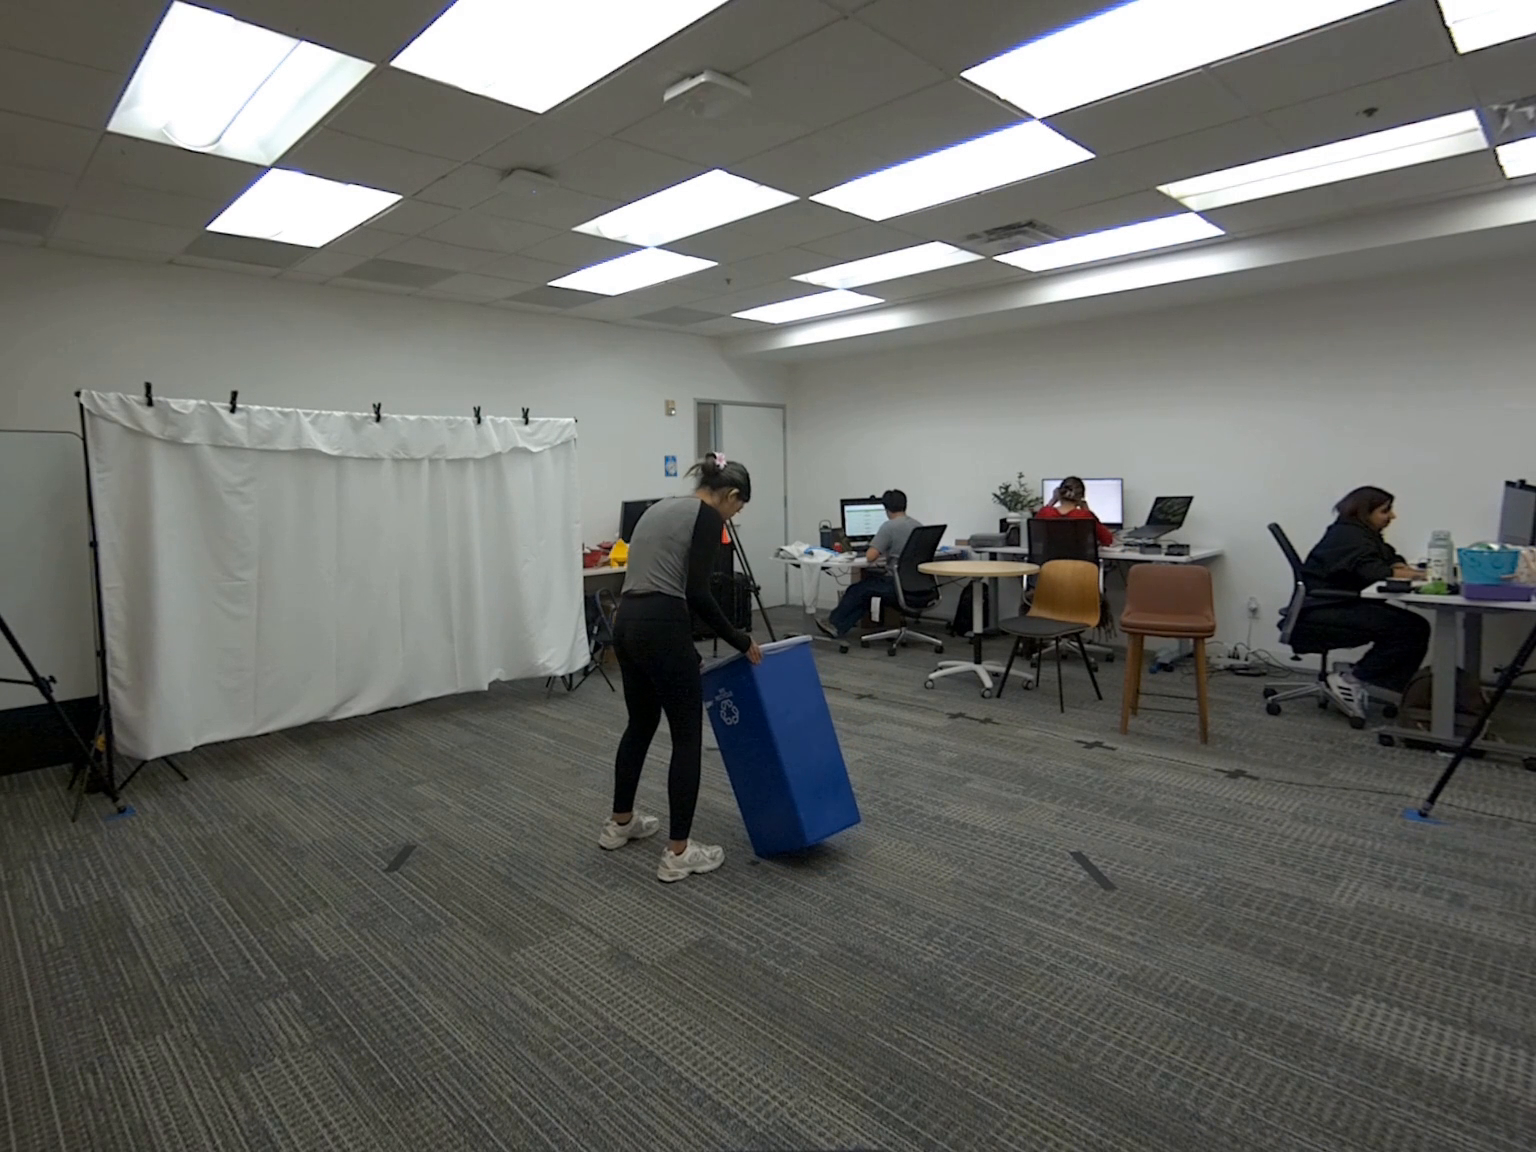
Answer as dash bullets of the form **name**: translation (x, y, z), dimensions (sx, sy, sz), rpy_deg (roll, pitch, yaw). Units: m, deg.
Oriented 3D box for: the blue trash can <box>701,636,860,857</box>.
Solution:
- **blue trash can**: translation (0.042, 0.635, 3.244), dimensions (0.368, 0.725, 0.378), rpy_deg (-6, -18, -43)
